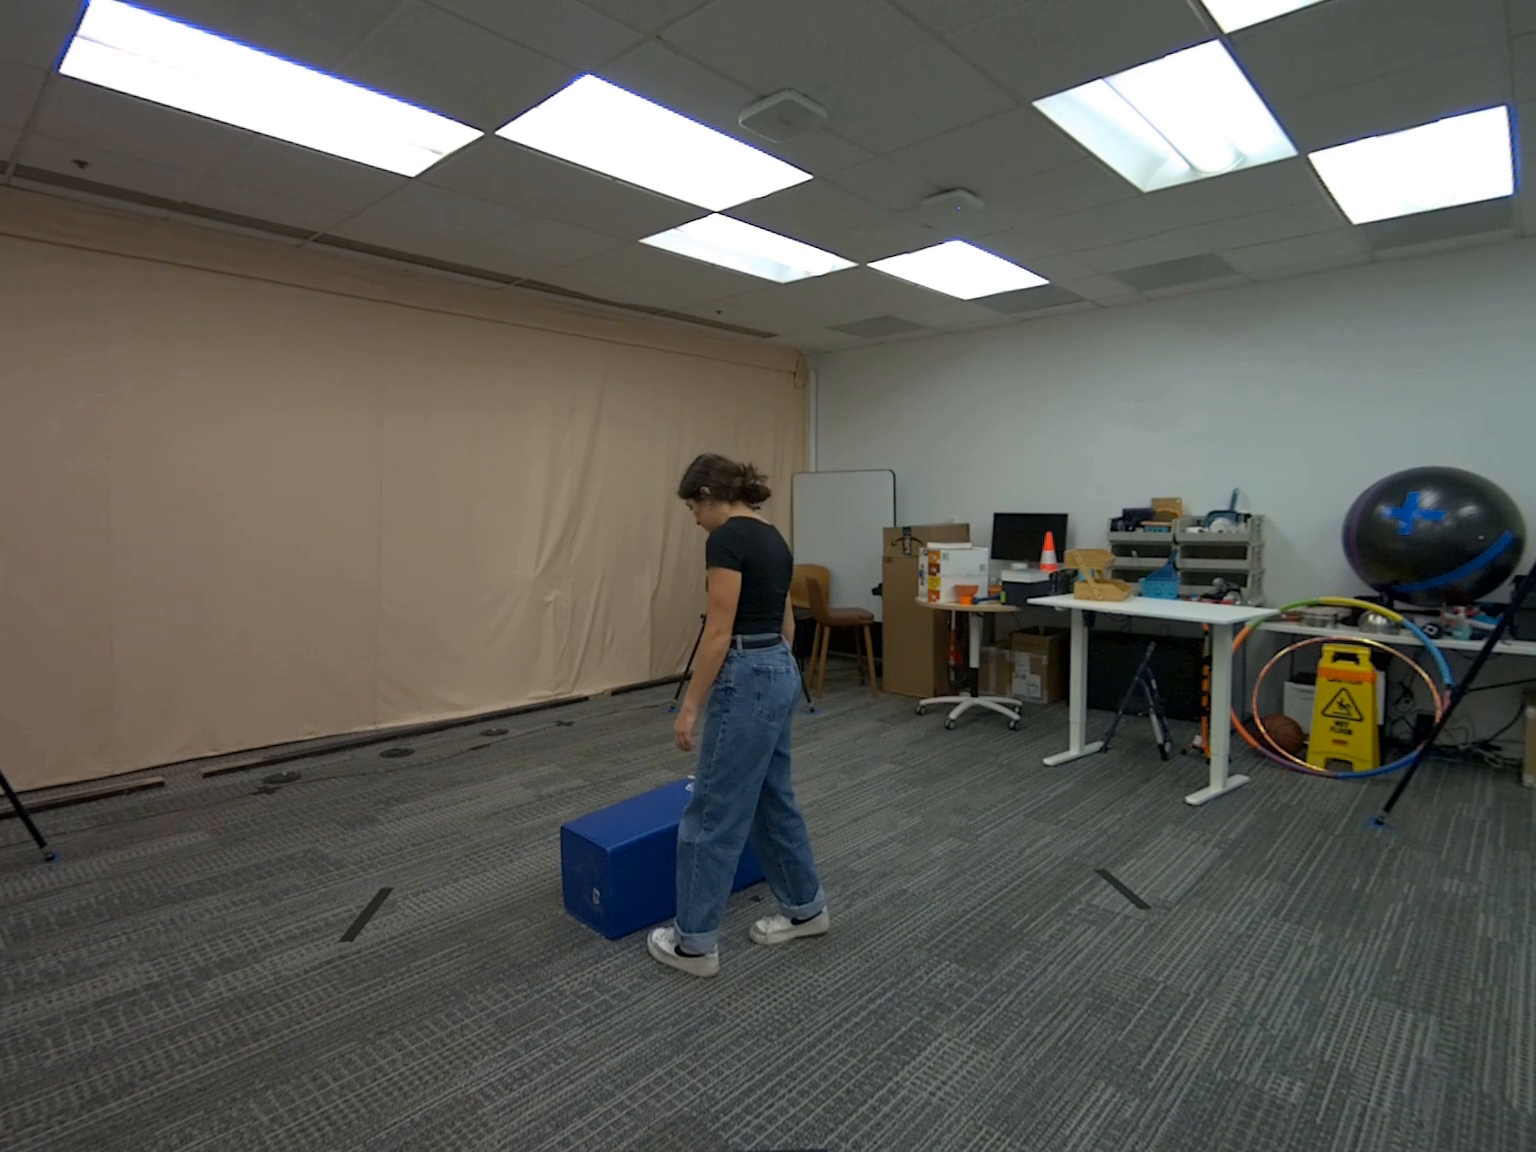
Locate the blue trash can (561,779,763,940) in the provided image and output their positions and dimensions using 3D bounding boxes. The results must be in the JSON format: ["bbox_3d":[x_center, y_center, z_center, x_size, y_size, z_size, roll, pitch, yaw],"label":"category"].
[{"bbox_3d":[-0.347,0.978,3.013,0.693,0.376,0.386,-8,9,-42],"label":"blue trash can"}]
